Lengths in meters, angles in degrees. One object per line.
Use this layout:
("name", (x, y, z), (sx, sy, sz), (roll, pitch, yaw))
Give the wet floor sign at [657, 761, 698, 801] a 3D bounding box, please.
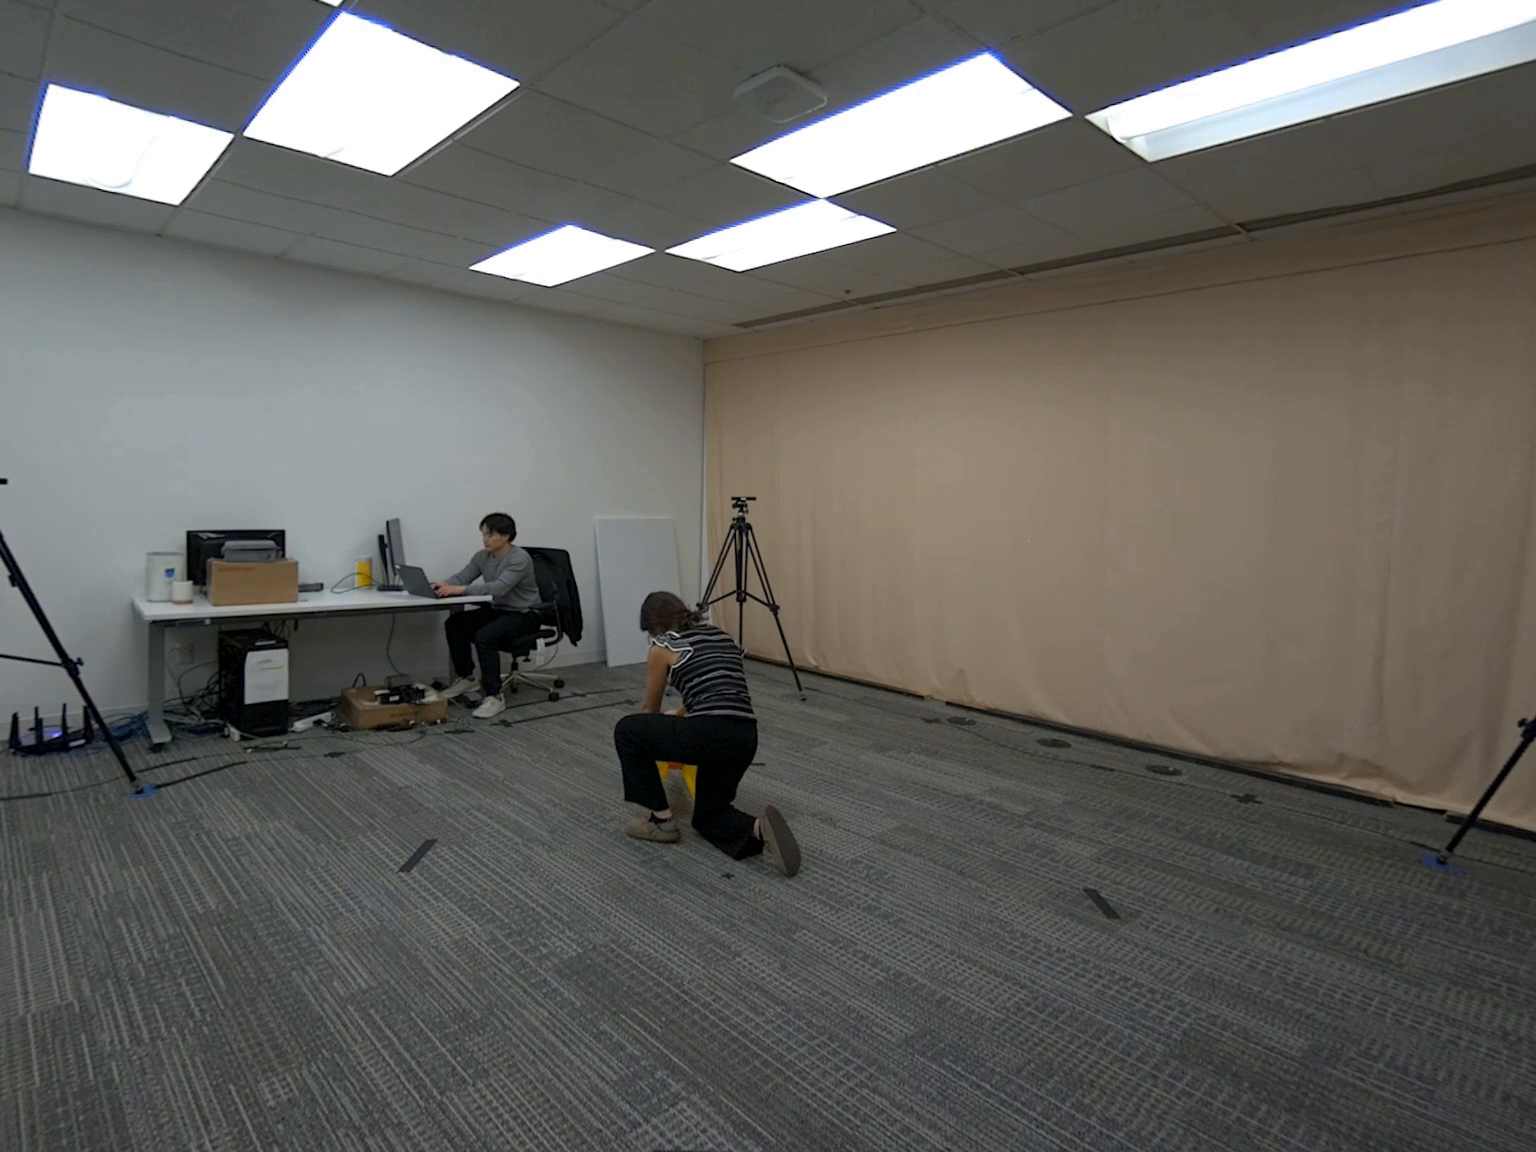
("wet floor sign", (-0.440, 0.841, 3.936), (0.289, 0.281, 0.649), (5, 4, -3))
